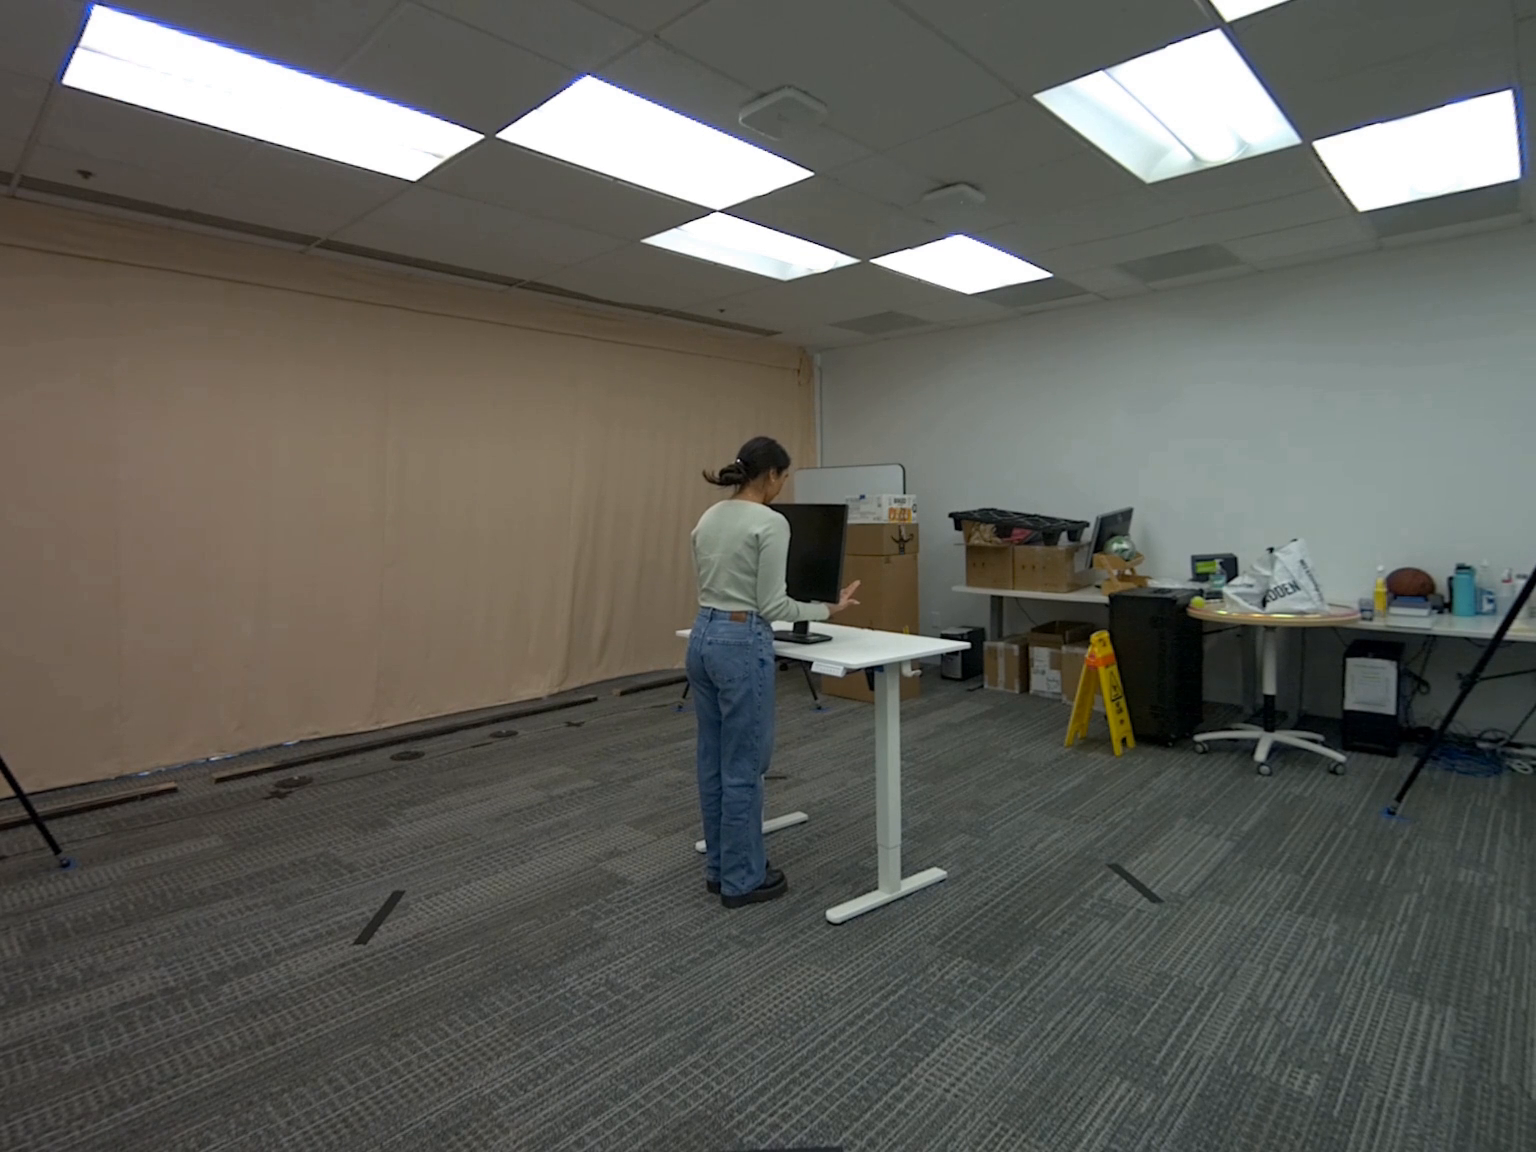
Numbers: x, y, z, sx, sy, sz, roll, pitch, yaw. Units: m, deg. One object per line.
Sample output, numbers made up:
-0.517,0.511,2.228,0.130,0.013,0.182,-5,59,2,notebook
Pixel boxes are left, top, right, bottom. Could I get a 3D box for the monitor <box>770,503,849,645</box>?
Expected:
0.103,-0.009,3.174,0.181,0.521,0.557,-5,6,-41,monitor
